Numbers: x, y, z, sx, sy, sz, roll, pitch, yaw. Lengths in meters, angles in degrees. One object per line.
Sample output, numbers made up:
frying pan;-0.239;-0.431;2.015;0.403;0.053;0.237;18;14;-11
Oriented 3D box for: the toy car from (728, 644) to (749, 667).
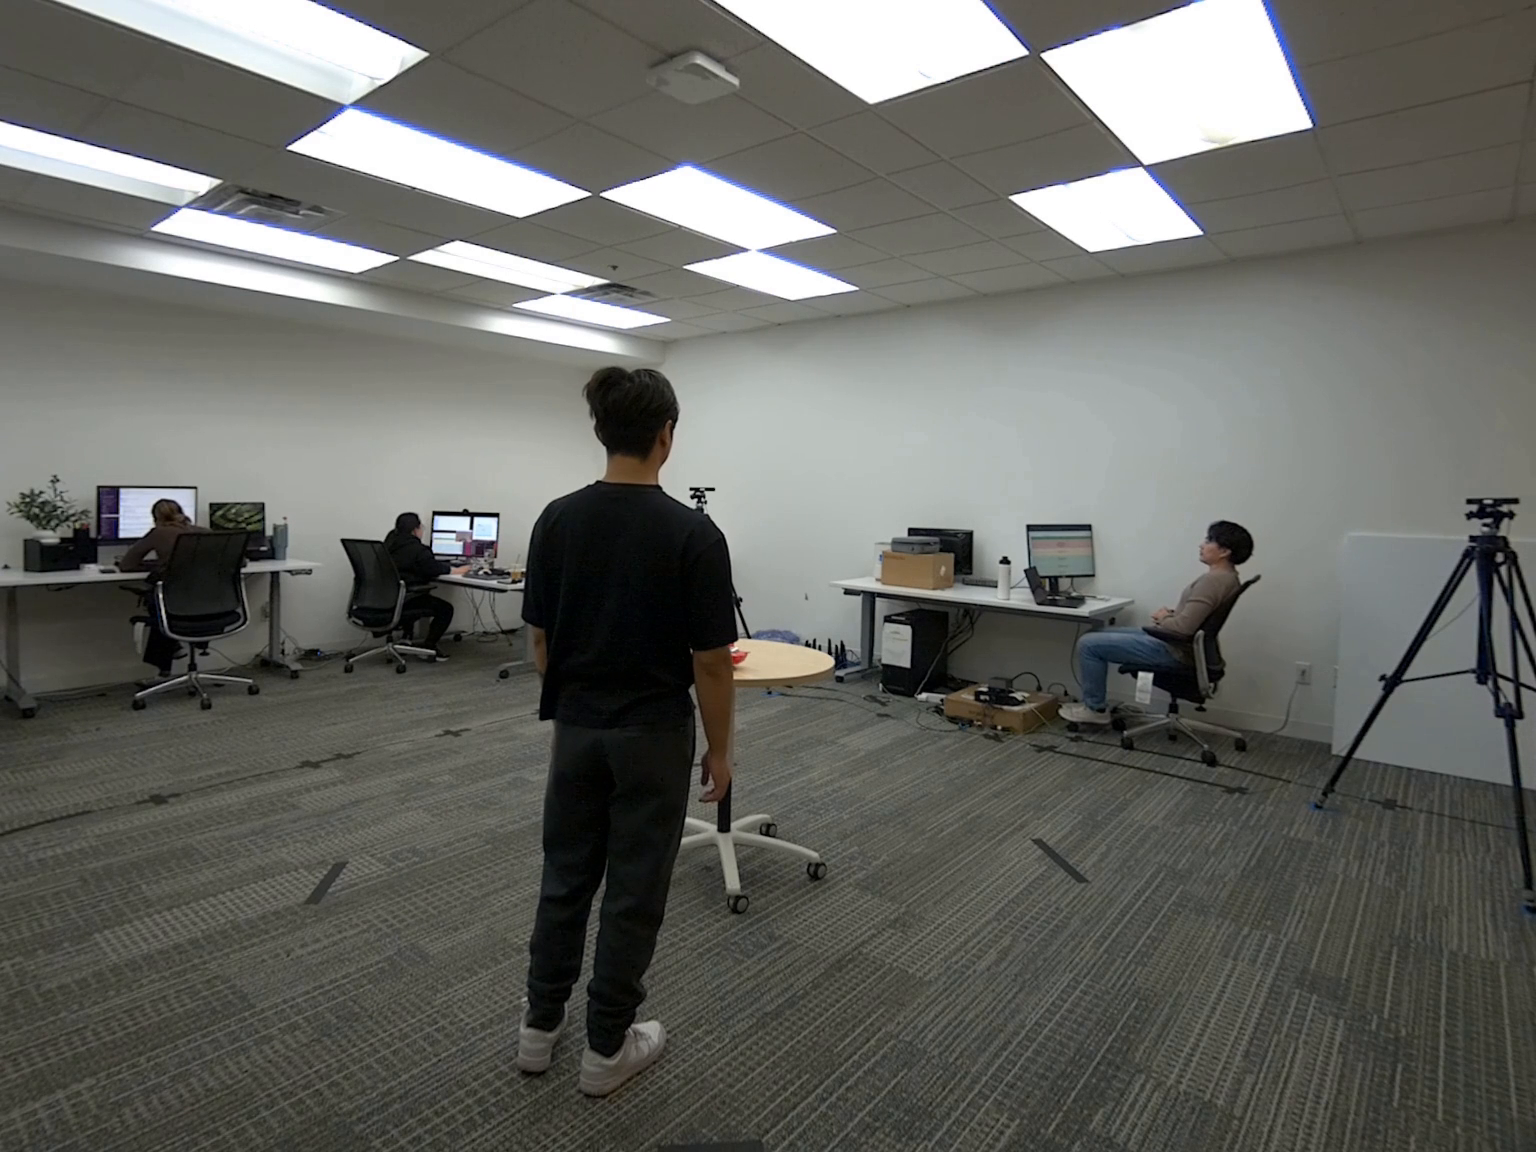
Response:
toy car;-0.200;0.272;2.884;0.259;0.083;0.128;-8;1;20
